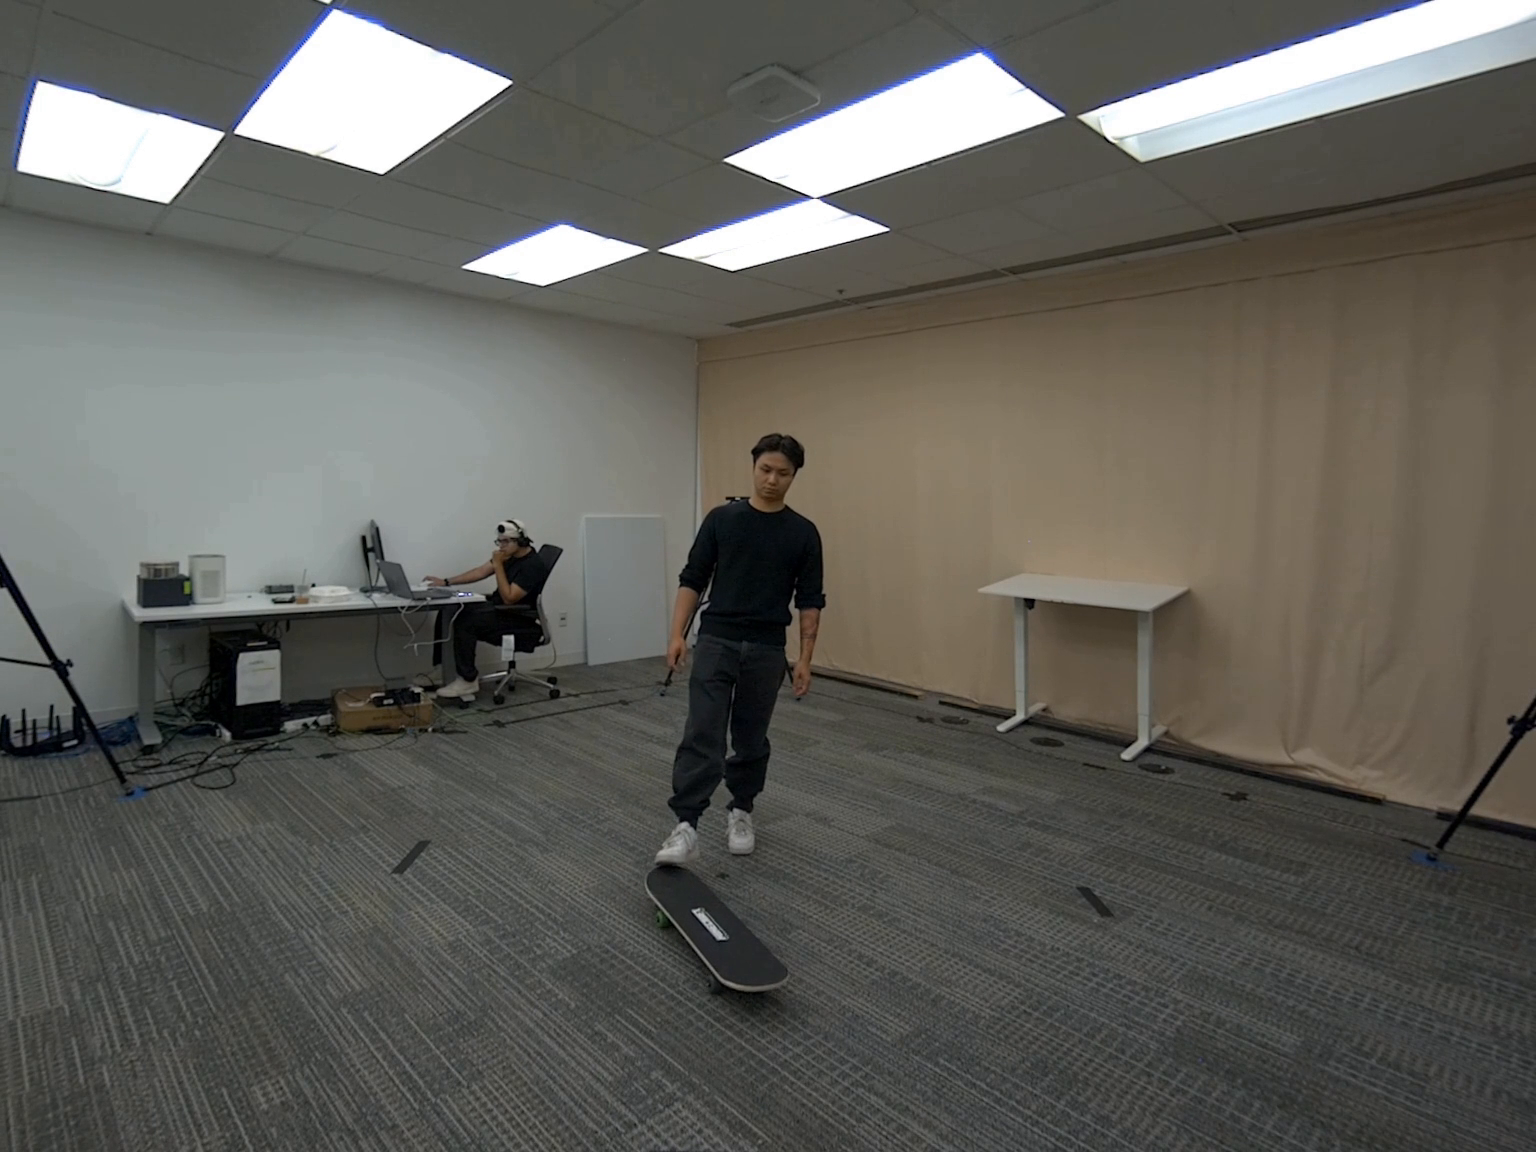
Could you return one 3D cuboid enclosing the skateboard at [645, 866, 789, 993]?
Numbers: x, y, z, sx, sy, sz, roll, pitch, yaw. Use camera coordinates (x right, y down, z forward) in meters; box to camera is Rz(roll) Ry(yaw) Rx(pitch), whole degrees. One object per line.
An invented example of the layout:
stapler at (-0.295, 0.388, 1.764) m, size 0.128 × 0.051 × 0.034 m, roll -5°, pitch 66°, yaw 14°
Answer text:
skateboard at (-0.188, 1.103, 2.576) m, size 0.190 × 0.110 × 0.802 m, roll -3°, pitch 7°, yaw -26°
